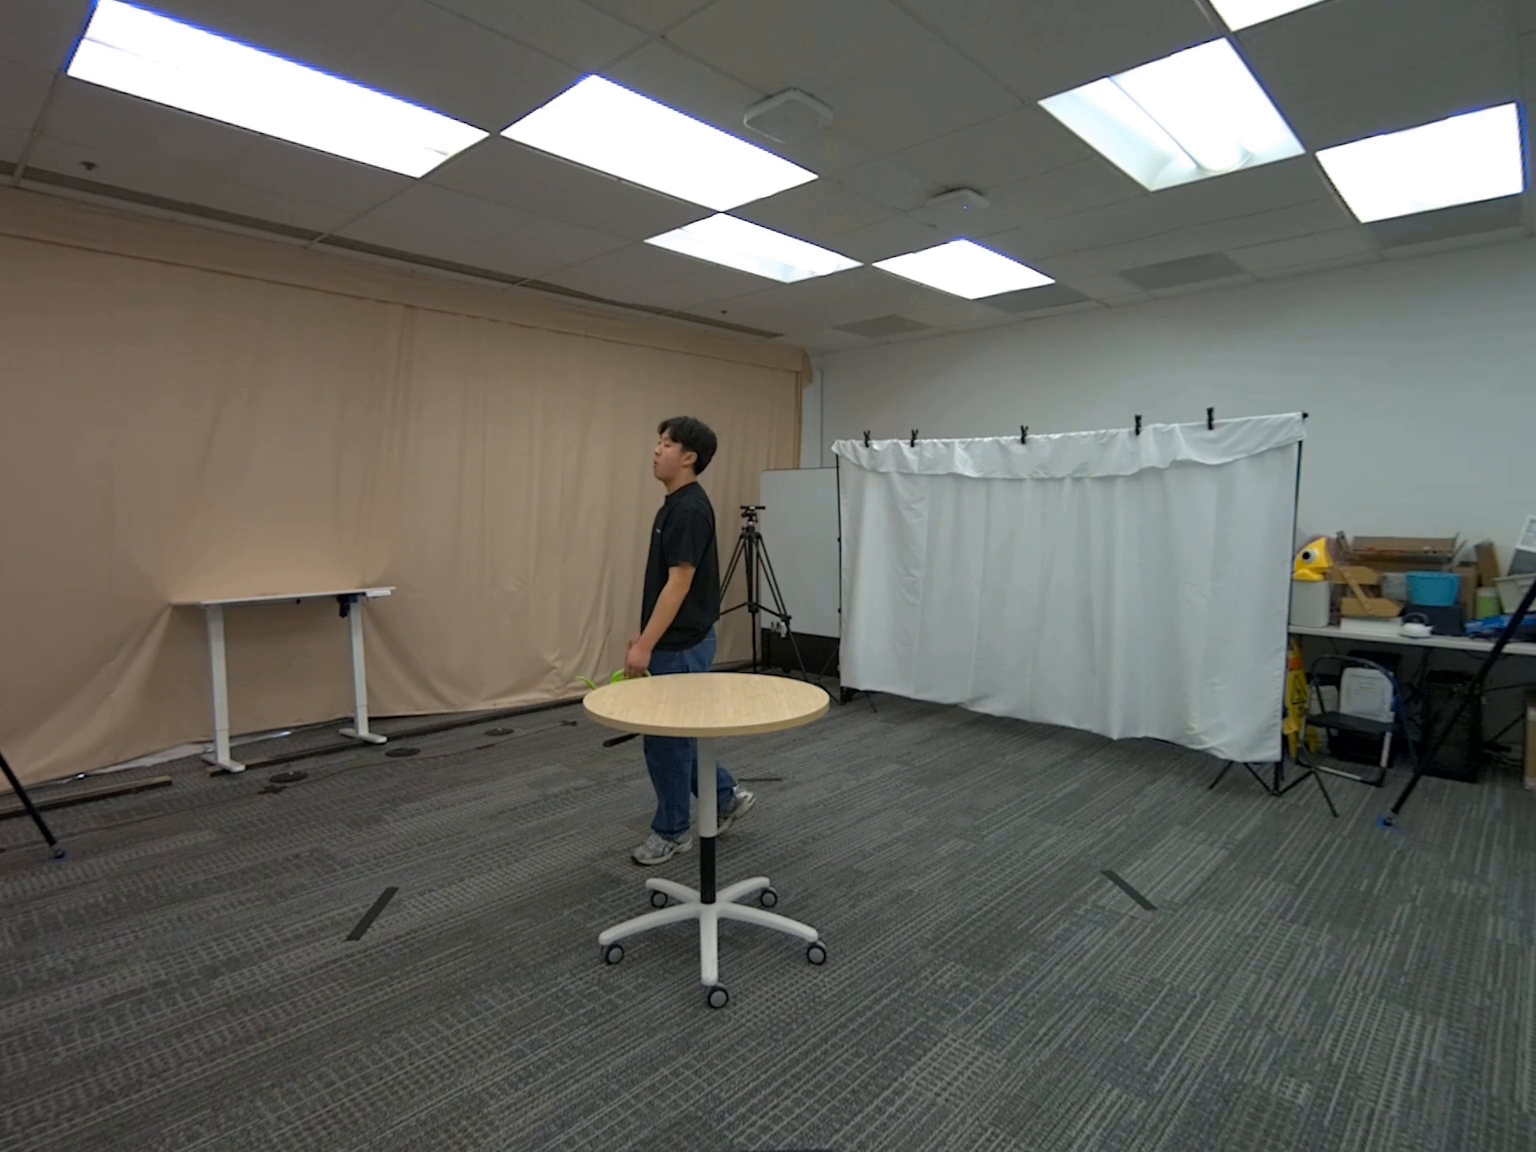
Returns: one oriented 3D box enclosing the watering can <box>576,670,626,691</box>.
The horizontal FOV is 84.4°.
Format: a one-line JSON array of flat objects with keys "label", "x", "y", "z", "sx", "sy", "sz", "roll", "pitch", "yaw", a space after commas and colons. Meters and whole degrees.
[{"label": "watering can", "x": -0.573, "y": 0.423, "z": 3.118, "sx": 0.276, "sy": 0.176, "sz": 0.099, "roll": -4, "pitch": 4, "yaw": -7}]
